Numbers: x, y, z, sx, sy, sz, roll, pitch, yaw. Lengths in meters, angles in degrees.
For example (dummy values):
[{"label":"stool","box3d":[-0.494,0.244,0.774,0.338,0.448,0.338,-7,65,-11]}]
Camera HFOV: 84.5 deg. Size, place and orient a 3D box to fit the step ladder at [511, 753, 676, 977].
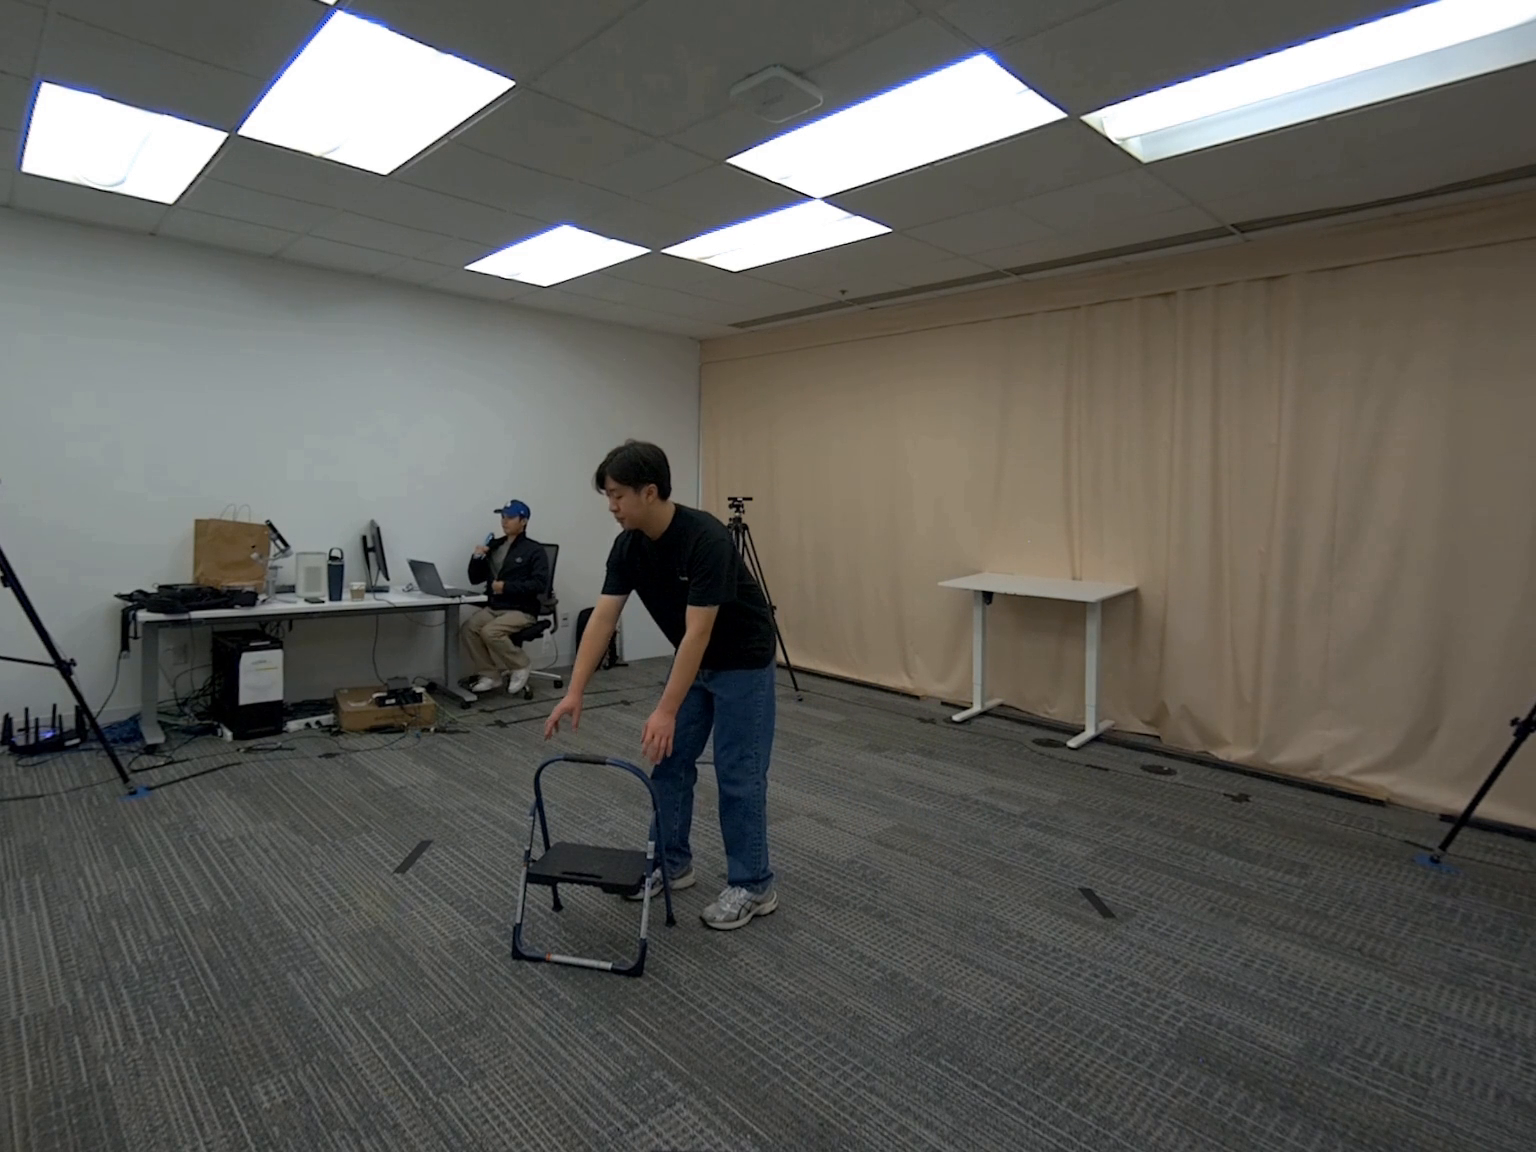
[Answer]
[{"label":"step ladder","box3d":[-0.541,0.843,2.620,0.434,0.604,0.347,2,4,10]}]
